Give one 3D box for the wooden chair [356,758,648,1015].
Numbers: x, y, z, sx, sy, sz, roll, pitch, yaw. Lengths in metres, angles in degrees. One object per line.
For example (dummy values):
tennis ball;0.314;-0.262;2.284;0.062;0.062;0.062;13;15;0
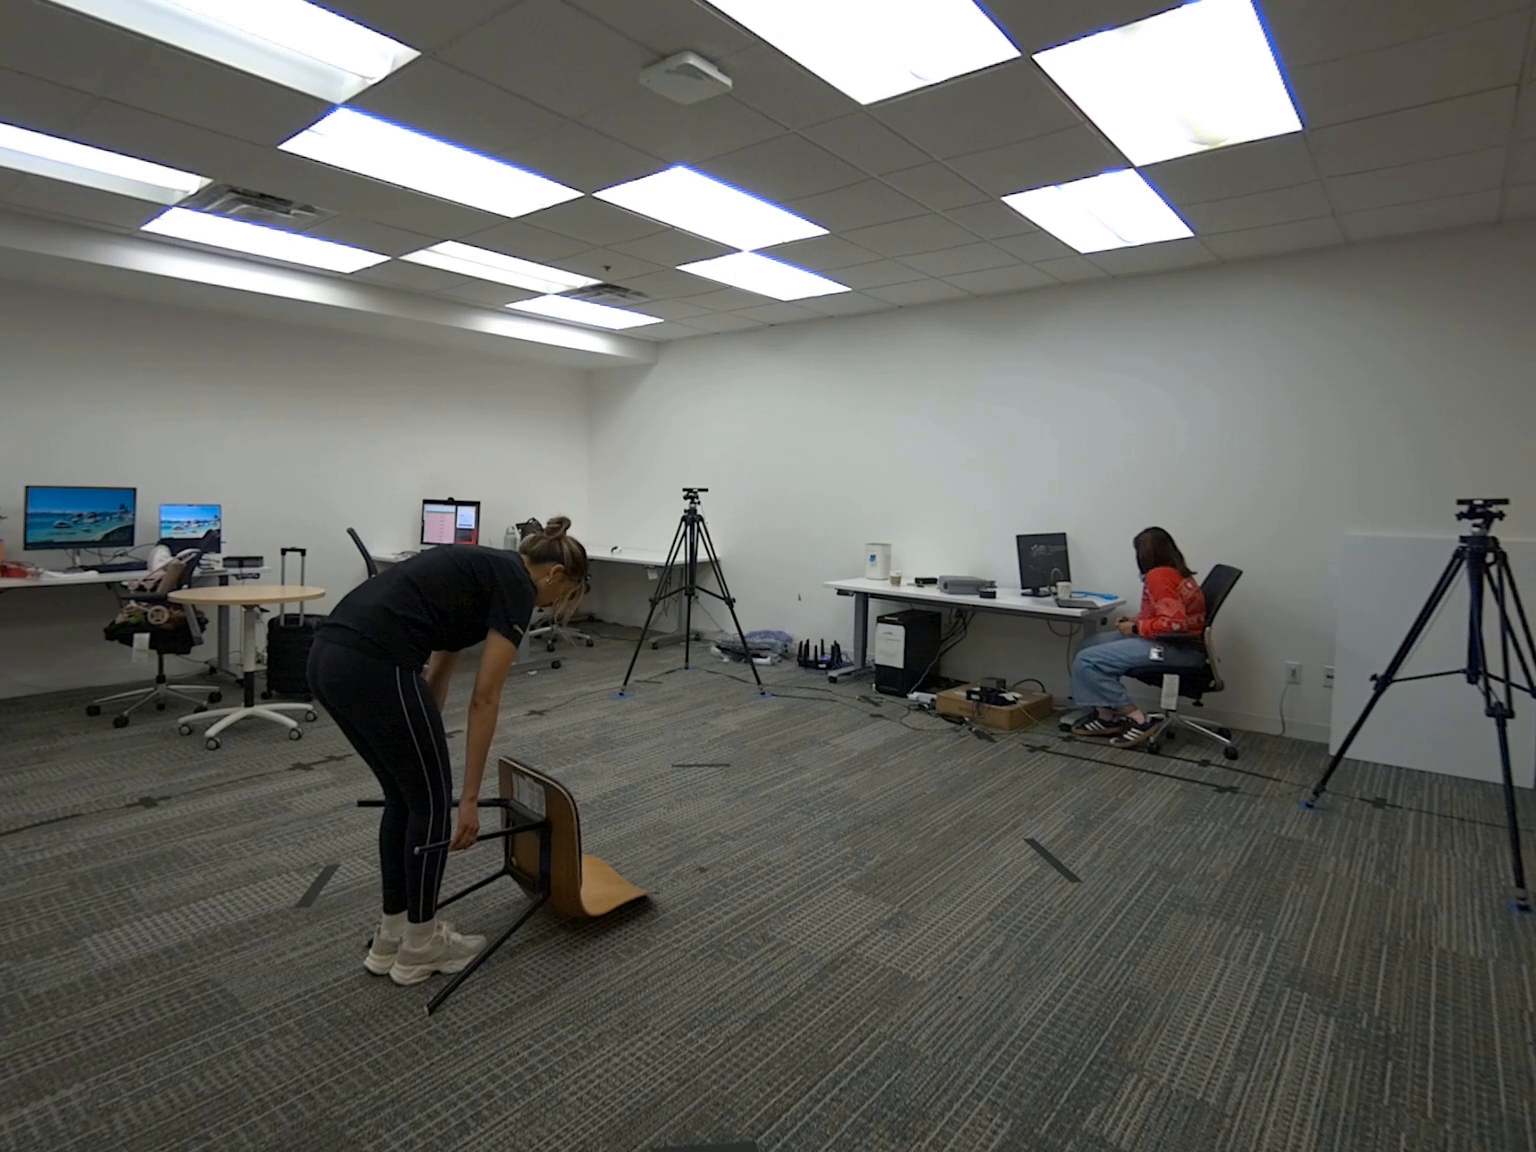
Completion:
wooden chair;-0.760;0.847;2.650;0.850;0.522;0.494;-3;5;-44
